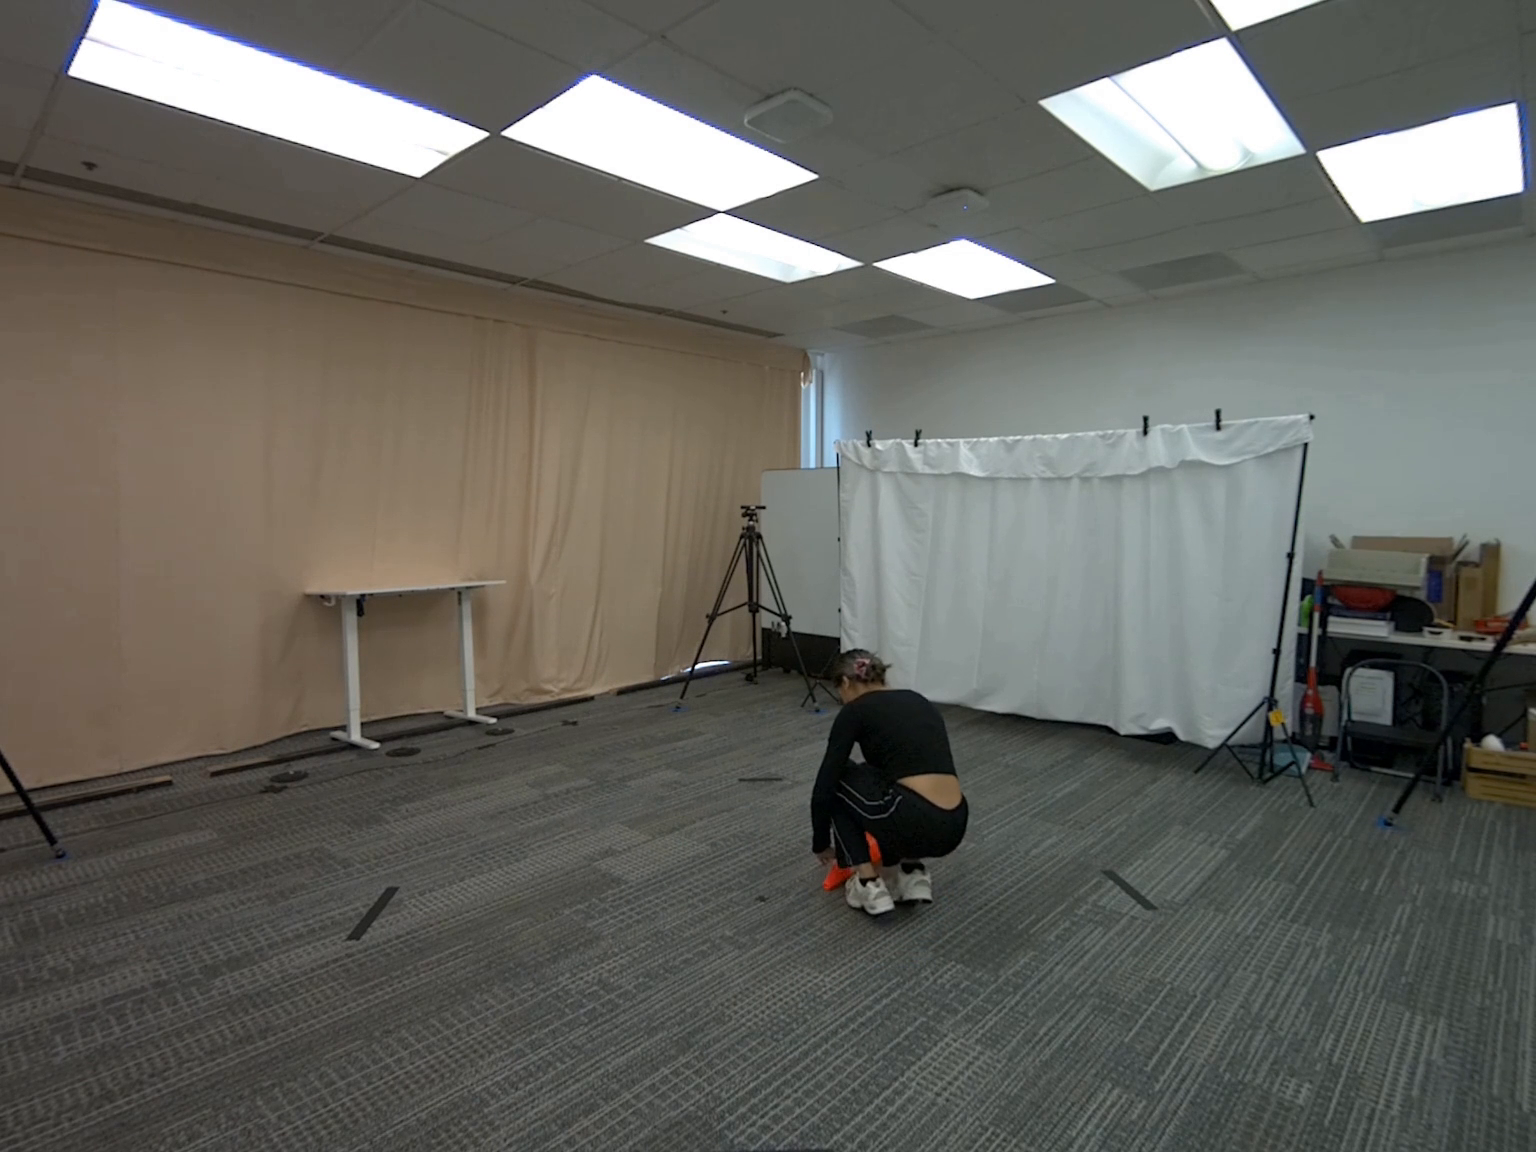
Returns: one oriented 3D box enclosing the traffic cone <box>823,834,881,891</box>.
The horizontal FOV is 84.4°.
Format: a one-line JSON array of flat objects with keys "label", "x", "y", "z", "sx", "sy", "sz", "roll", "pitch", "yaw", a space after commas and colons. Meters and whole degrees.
[{"label": "traffic cone", "x": 0.327, "y": 1.077, "z": 3.185, "sx": 0.212, "sy": 0.201, "sz": 0.376, "roll": 6, "pitch": 21, "yaw": 37}]
